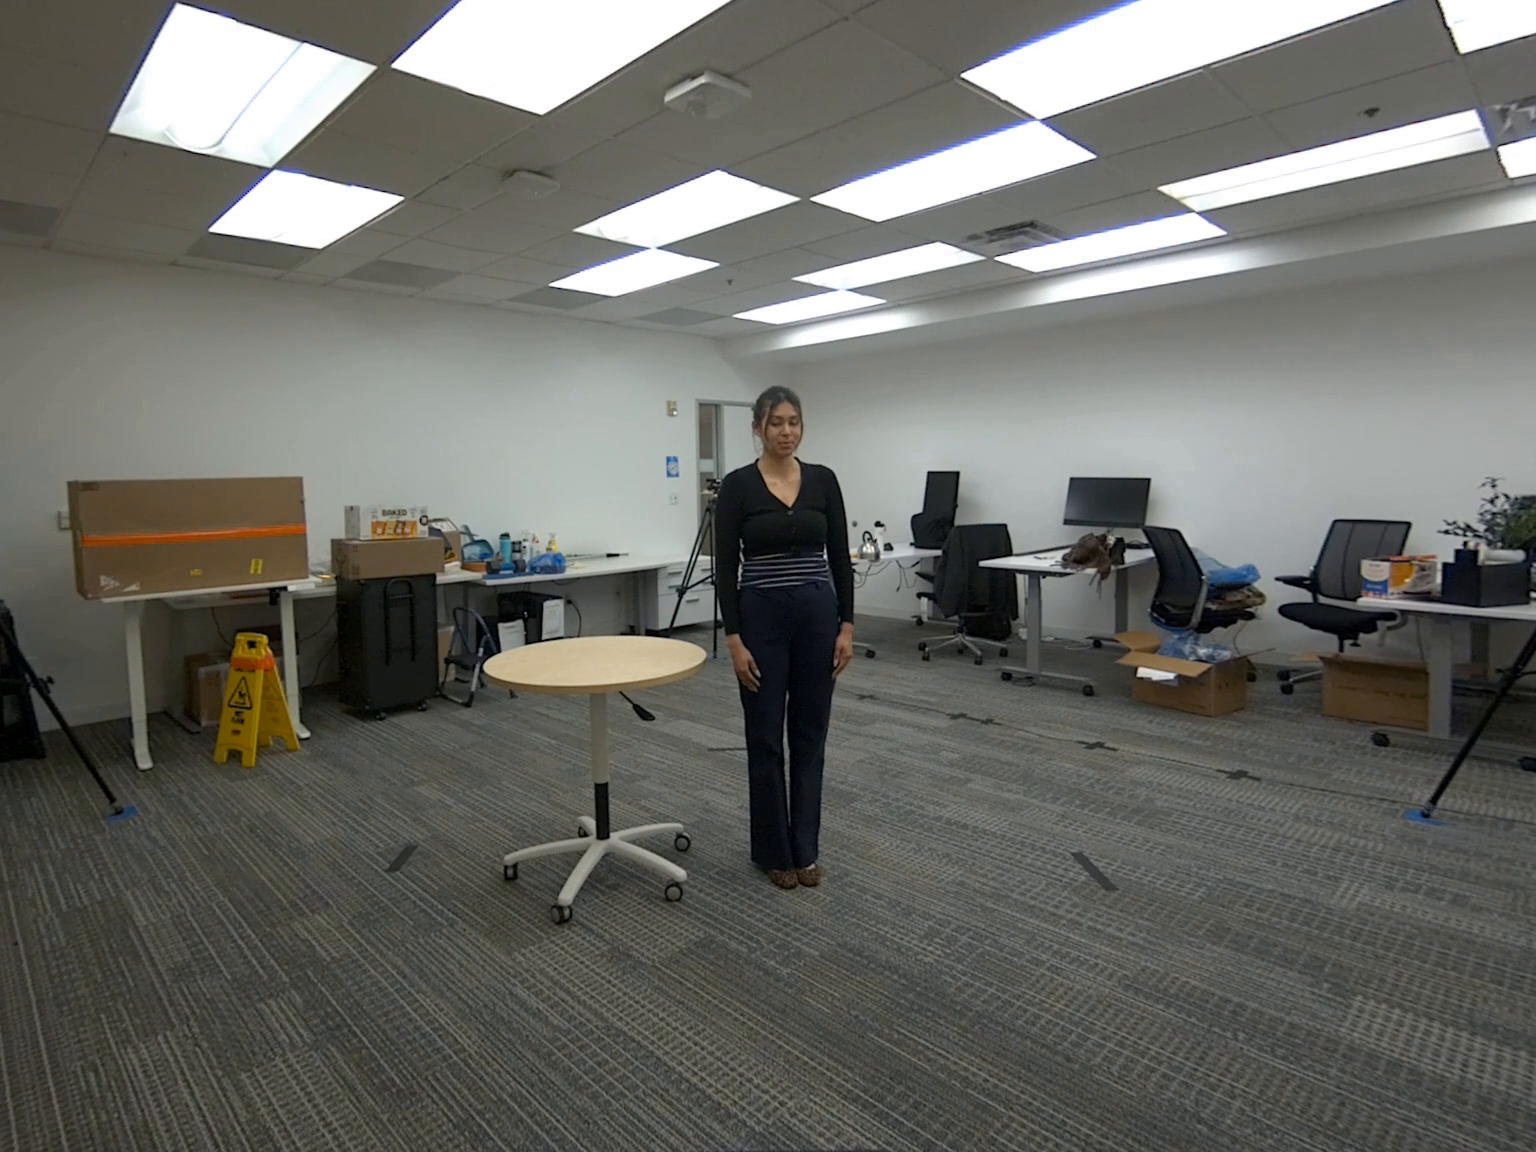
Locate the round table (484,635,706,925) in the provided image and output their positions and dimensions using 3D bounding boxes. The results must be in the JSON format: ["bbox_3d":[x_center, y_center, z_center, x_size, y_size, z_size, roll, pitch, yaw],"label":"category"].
[{"bbox_3d":[-0.585,0.676,3.007,0.763,0.790,0.768,-2,6,-2],"label":"round table"}]
